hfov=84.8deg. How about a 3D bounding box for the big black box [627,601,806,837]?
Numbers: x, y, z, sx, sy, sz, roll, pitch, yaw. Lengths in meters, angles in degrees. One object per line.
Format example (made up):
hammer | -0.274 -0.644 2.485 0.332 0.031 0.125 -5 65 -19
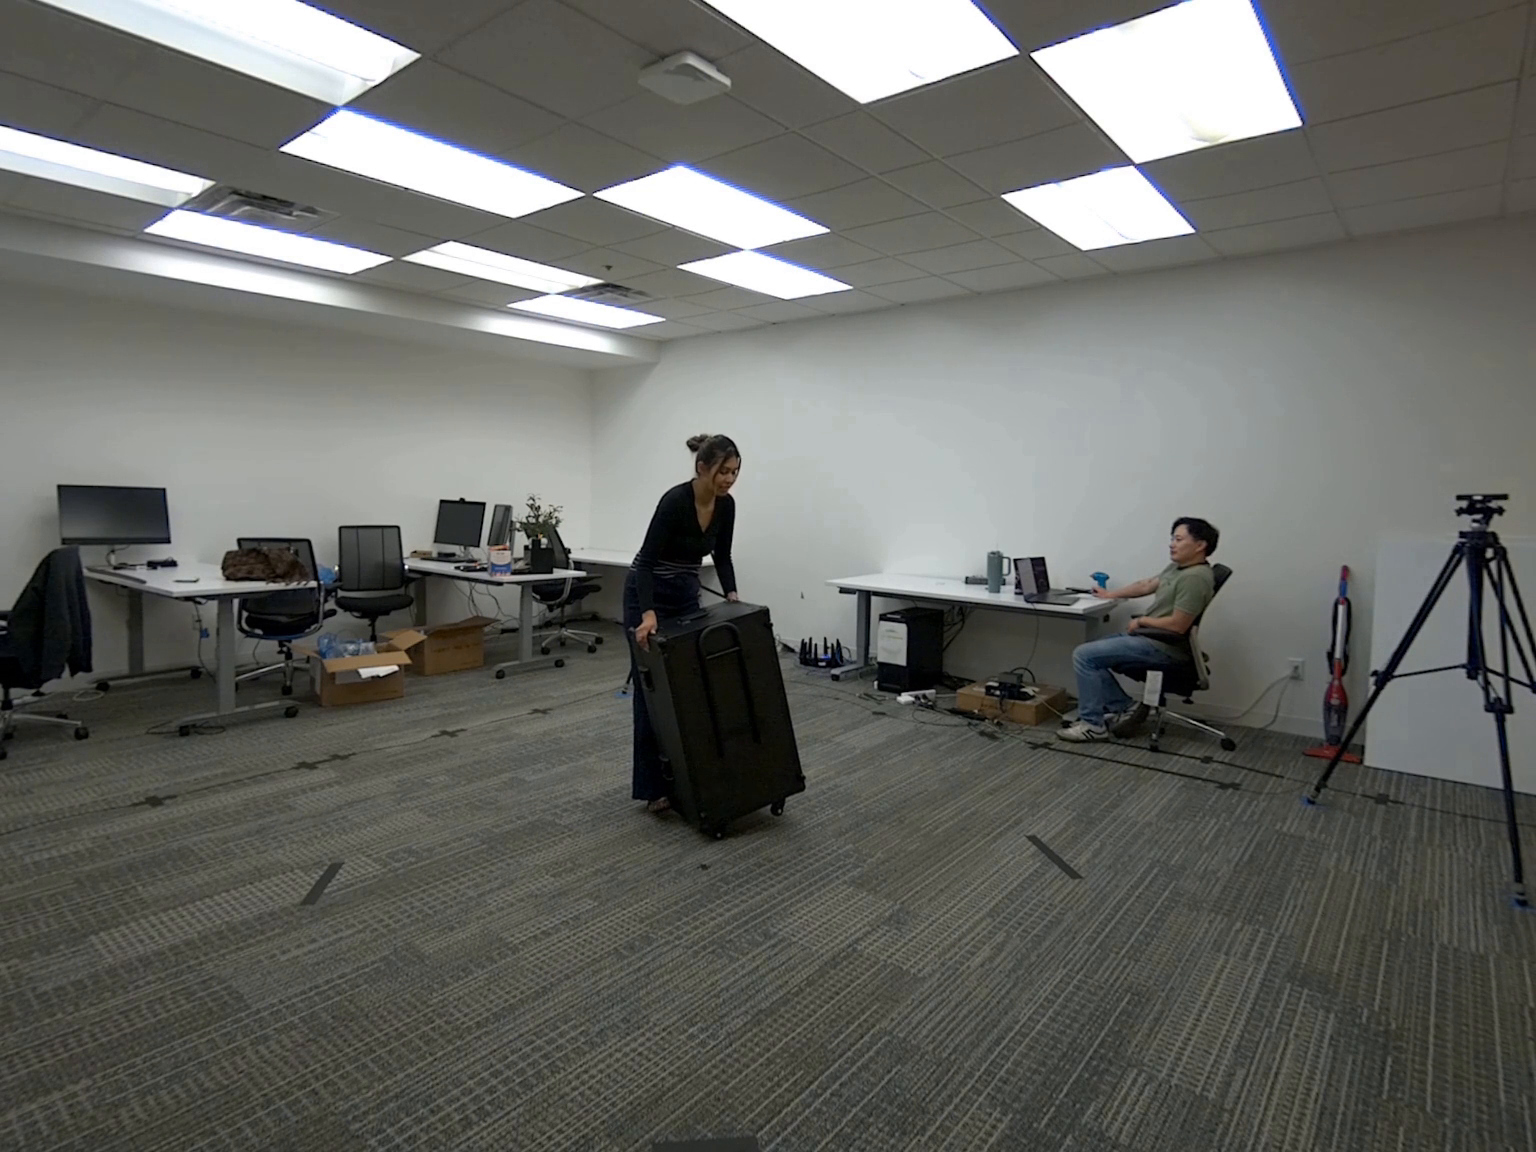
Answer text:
big black box | -0.202 0.579 3.499 0.512 0.854 0.407 -15 8 -24
